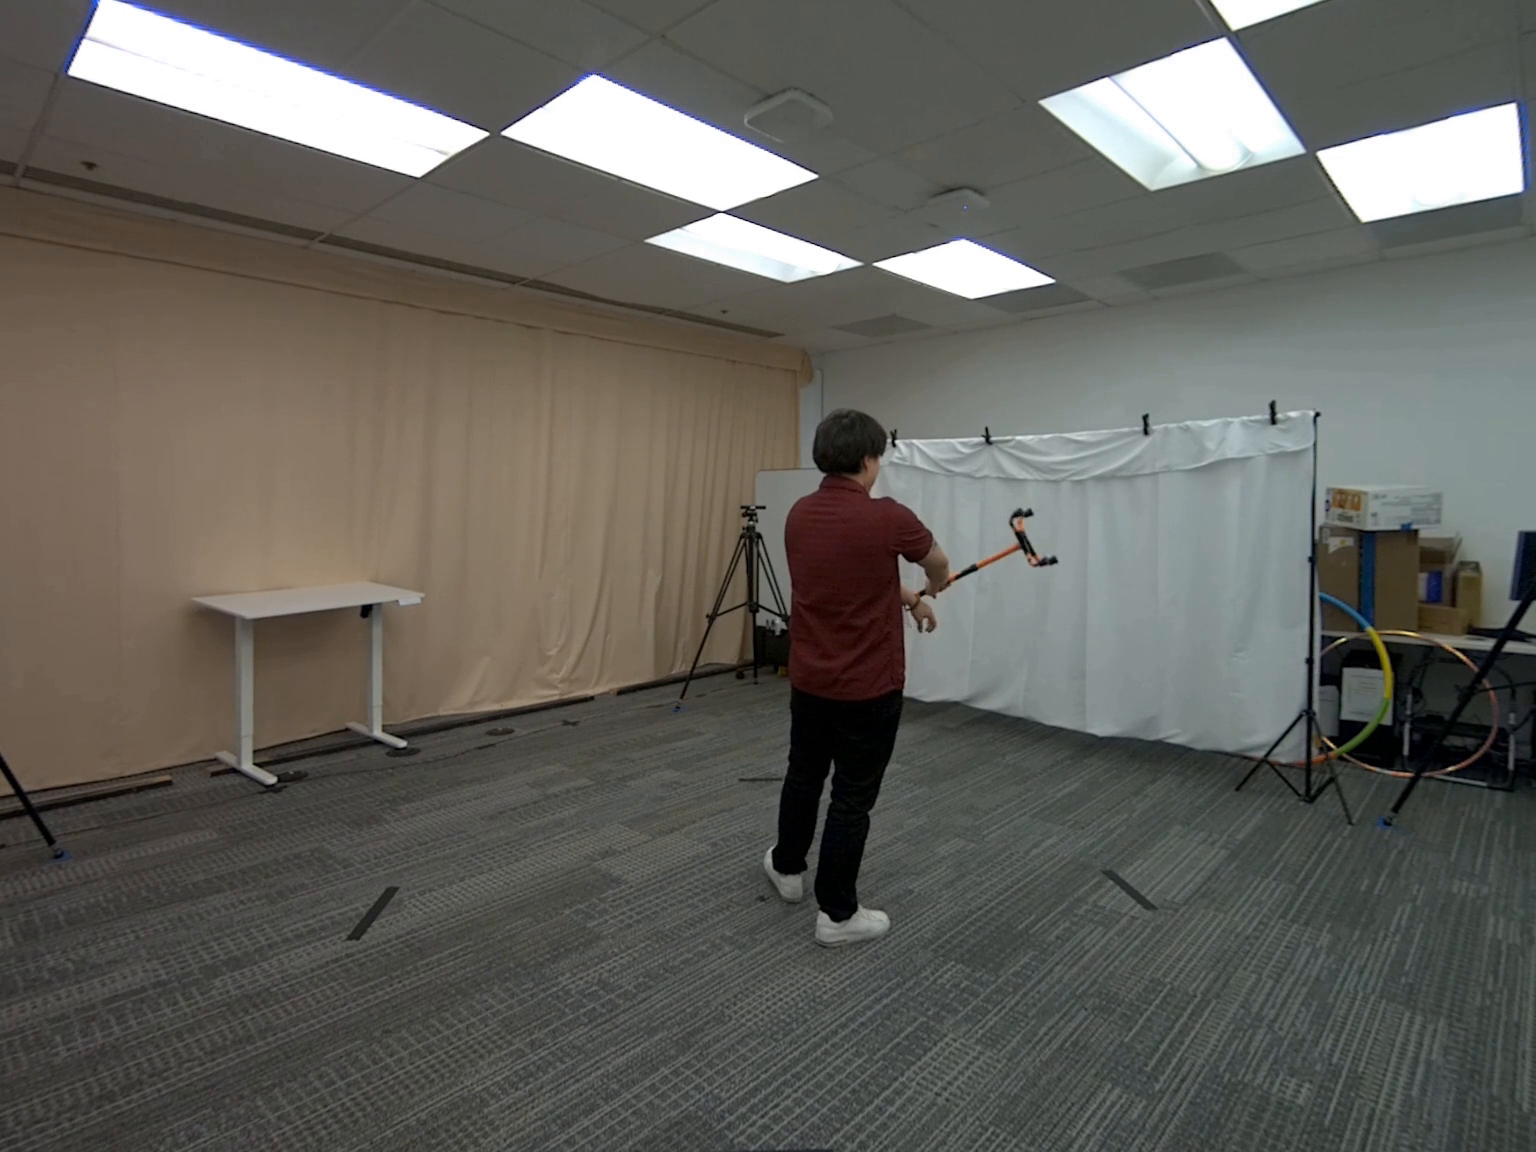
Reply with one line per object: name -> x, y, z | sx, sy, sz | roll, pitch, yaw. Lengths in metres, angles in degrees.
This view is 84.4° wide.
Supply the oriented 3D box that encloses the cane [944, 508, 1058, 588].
cane -> 0.547, 0.064, 2.992 | 0.922, 0.209, 0.147 | -29, -15, 28
